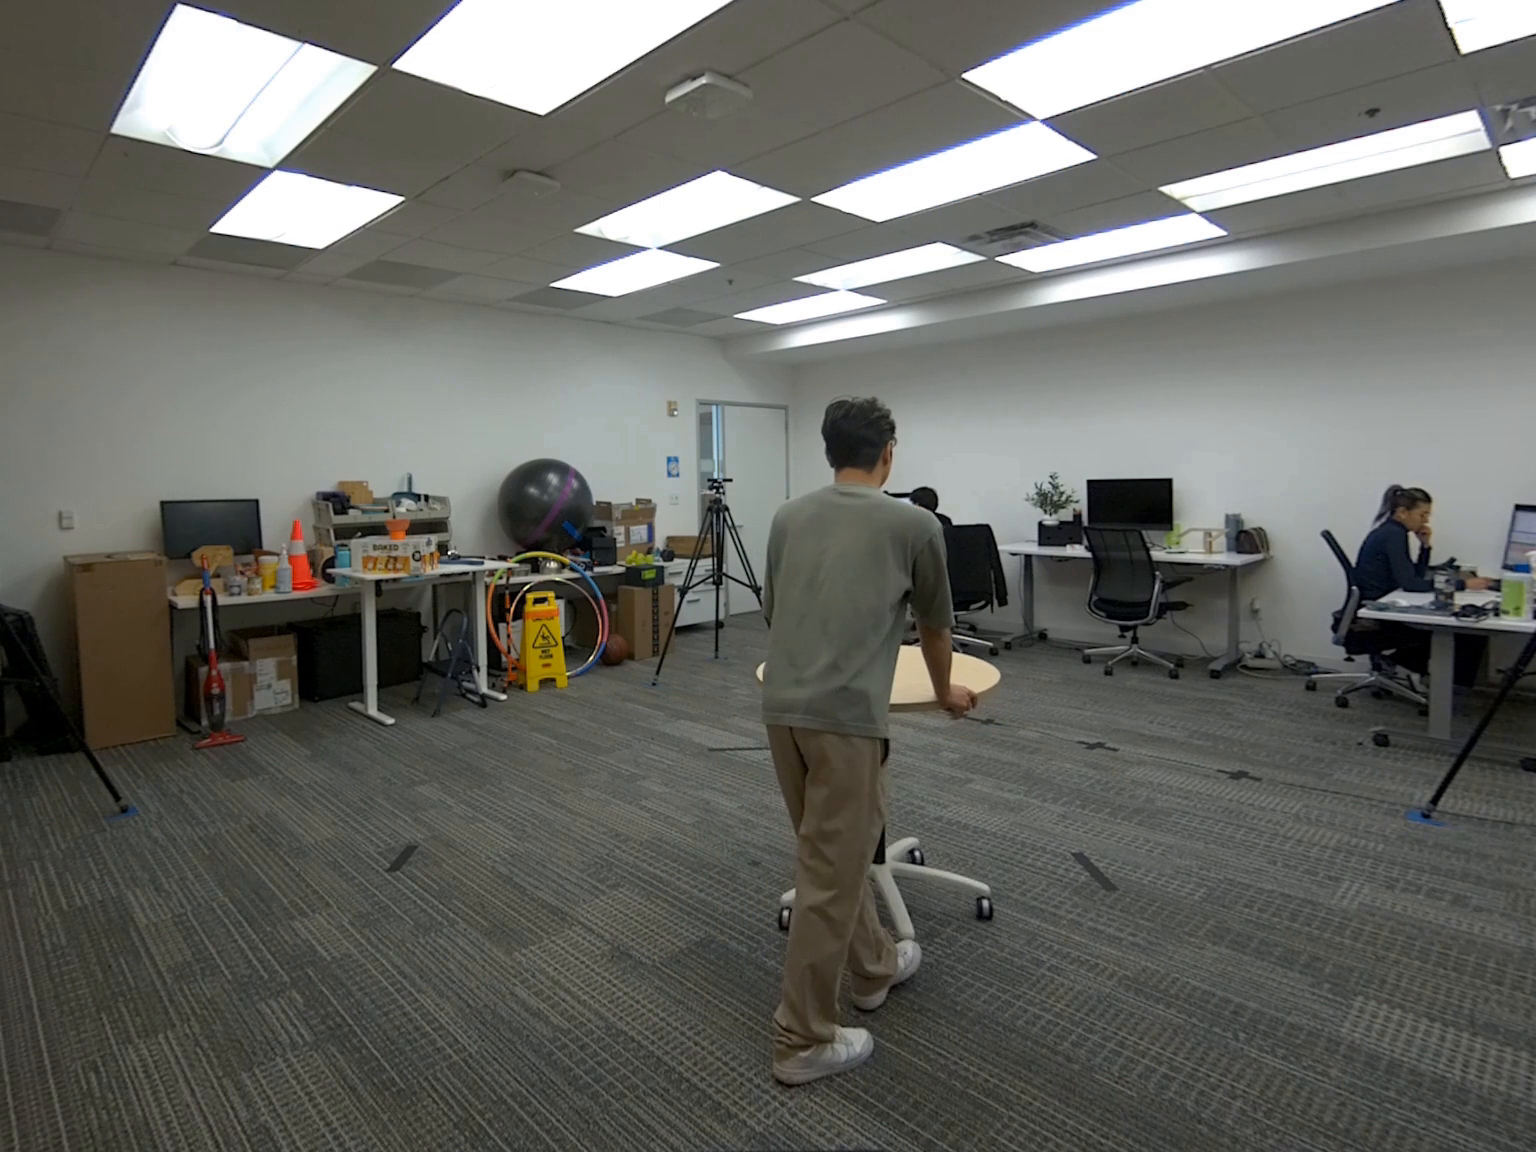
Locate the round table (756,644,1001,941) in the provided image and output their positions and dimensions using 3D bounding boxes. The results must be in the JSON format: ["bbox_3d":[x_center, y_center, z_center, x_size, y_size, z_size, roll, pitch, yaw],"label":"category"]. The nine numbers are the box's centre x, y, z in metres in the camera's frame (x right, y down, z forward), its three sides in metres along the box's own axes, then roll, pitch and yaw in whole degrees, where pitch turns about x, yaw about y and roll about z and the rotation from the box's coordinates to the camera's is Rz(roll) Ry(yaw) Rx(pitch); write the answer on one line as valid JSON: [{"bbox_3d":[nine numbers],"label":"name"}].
[{"bbox_3d":[0.374,0.687,2.787,0.784,0.782,0.790,-1,6,-2],"label":"round table"}]
